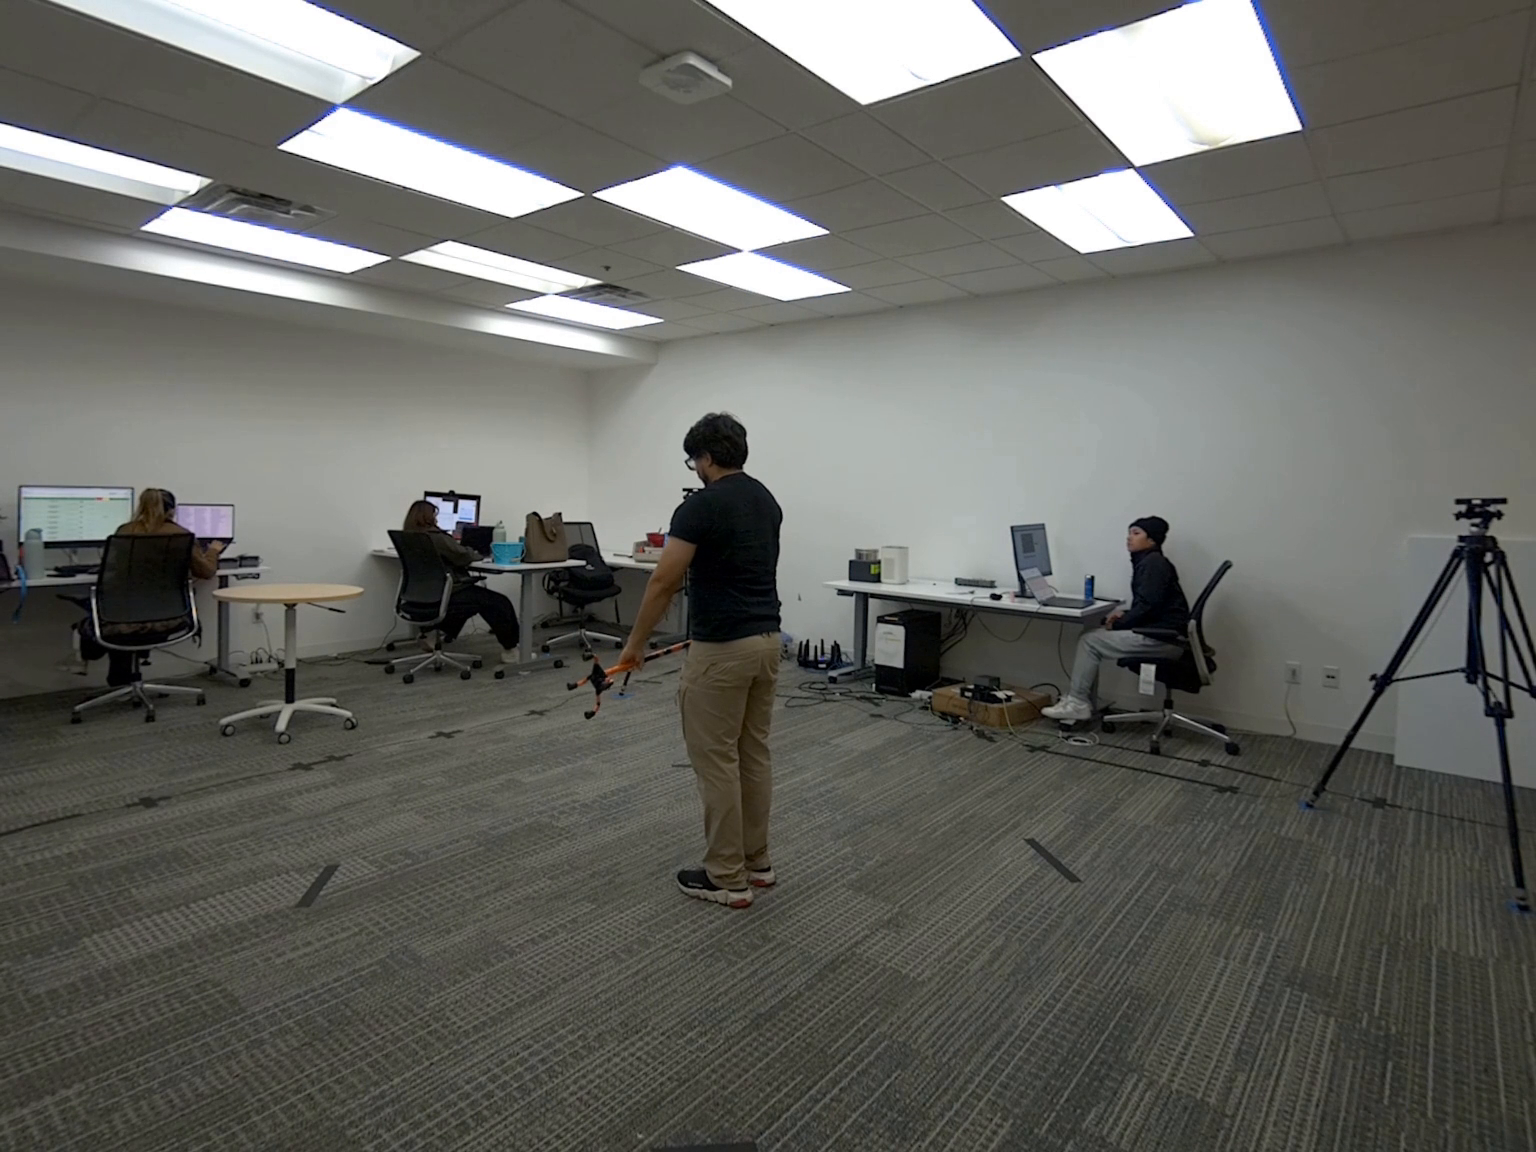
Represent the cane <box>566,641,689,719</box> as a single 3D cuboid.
[{"bbox_3d":[-0.323,0.278,3.172,0.888,0.156,0.205,-18,-29,-44],"label":"cane"}]
